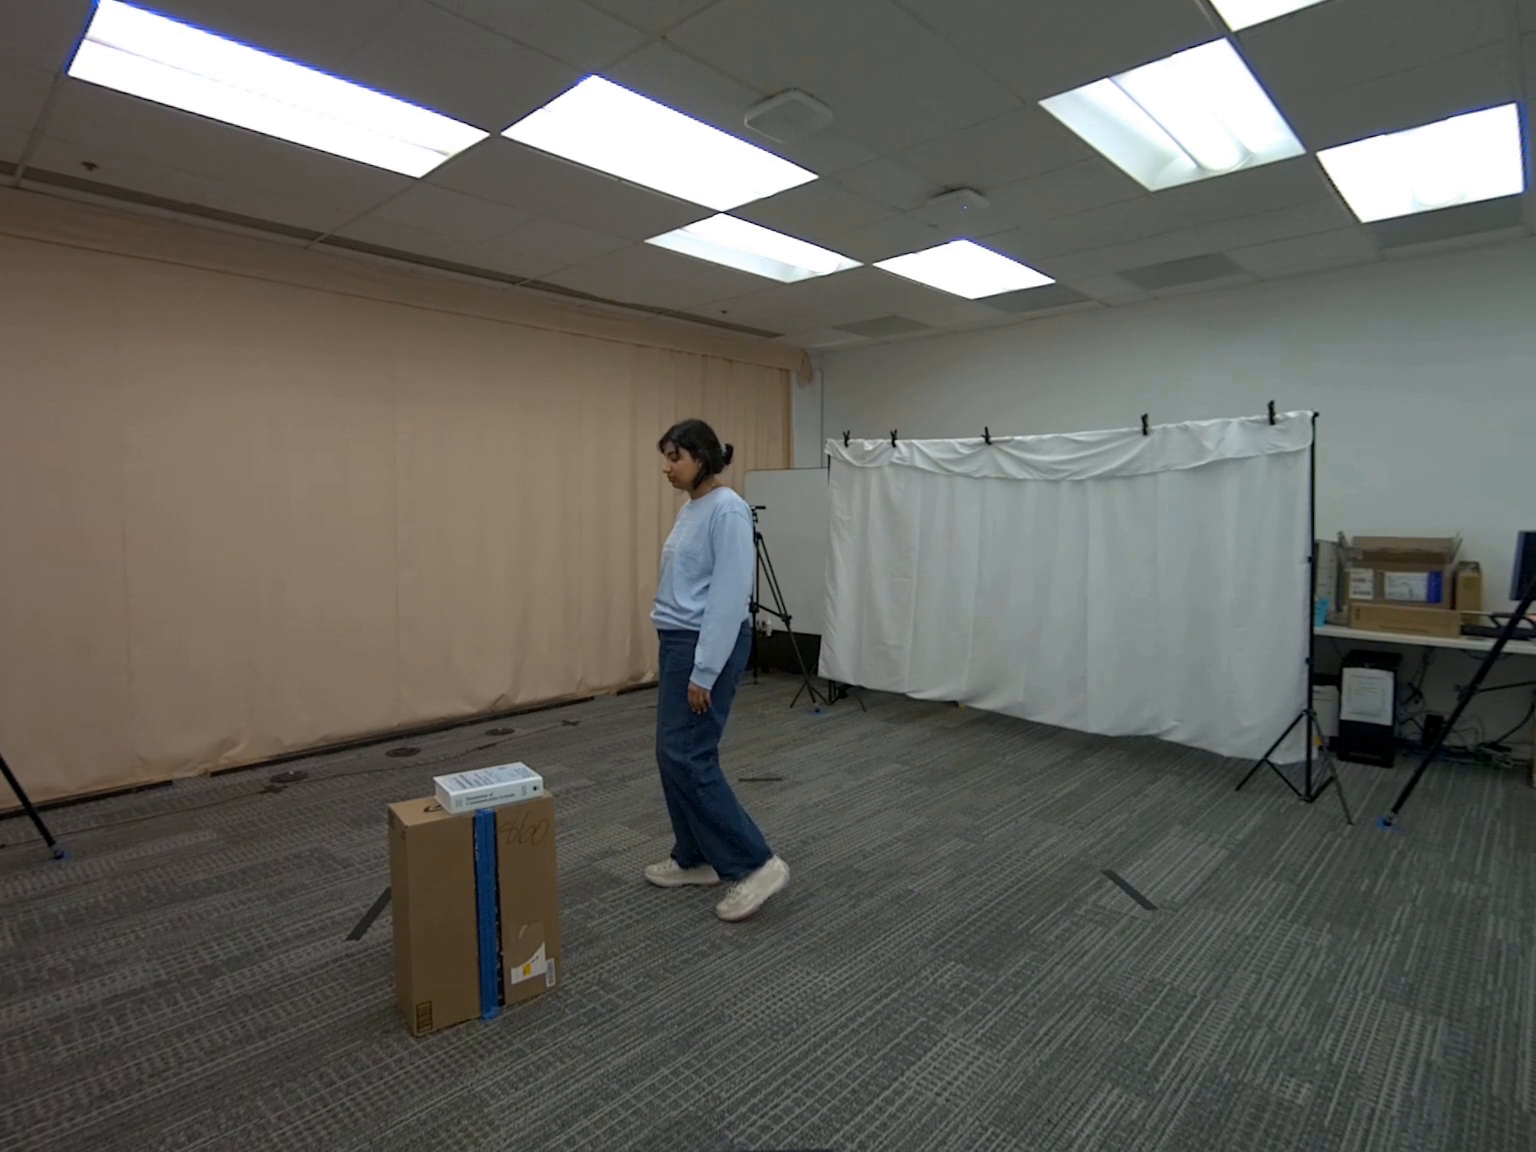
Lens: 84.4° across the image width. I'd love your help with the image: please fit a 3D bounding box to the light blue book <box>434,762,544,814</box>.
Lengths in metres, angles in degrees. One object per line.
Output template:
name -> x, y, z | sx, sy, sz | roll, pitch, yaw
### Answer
light blue book -> -0.798, 0.604, 2.419 | 0.253, 0.059, 0.197 | -3, 4, -34
